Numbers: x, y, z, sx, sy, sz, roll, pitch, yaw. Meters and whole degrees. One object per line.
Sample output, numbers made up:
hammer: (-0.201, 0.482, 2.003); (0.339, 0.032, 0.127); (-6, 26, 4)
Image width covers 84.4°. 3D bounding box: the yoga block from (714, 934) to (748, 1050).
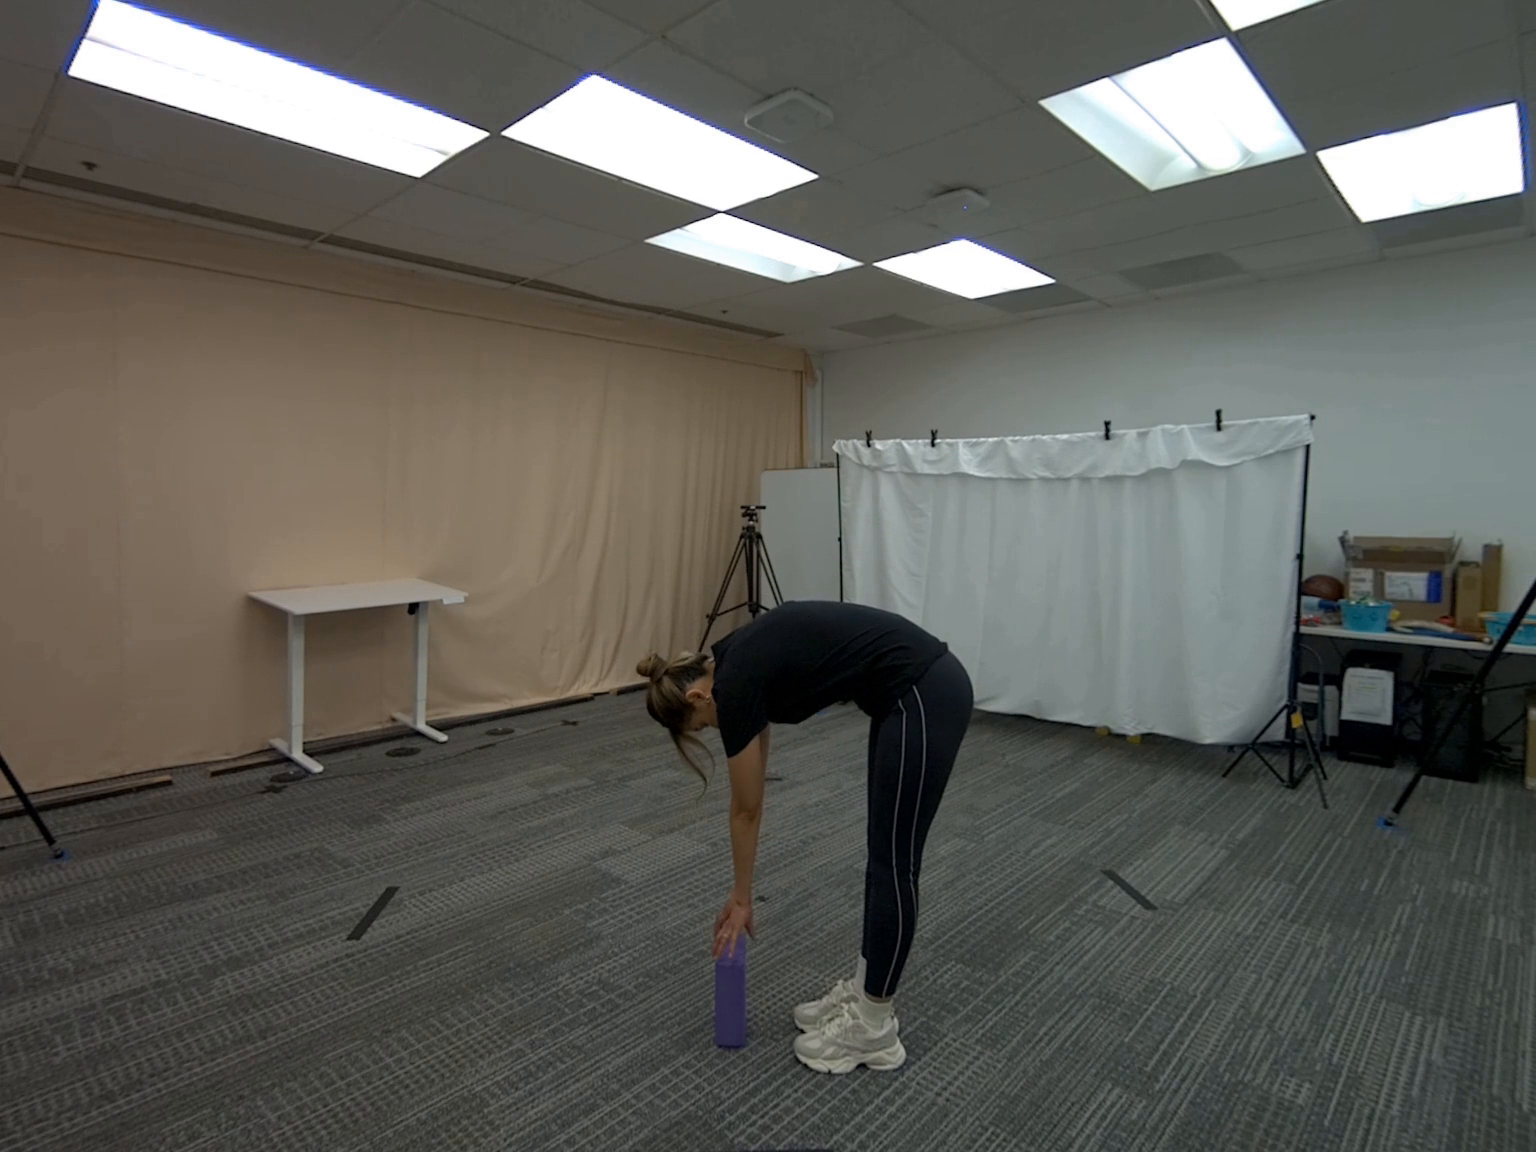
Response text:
yoga block: (-0.097, 1.093, 2.223); (0.076, 0.229, 0.149); (0, 2, -1)
